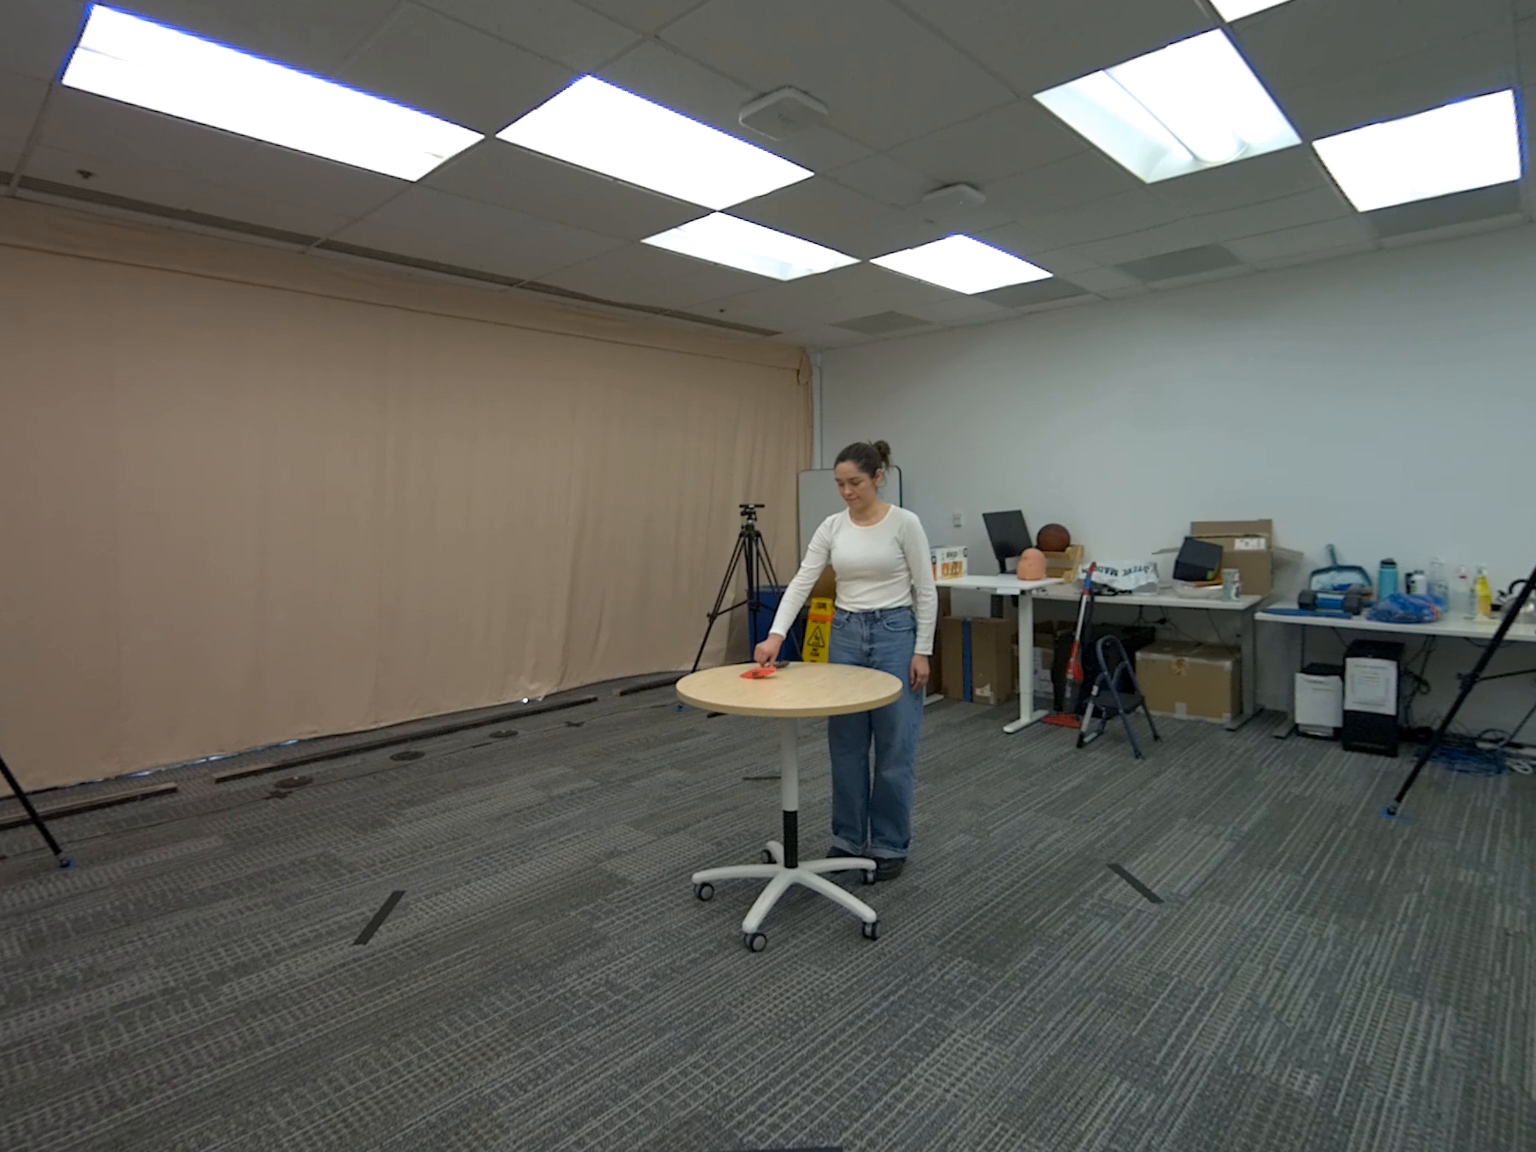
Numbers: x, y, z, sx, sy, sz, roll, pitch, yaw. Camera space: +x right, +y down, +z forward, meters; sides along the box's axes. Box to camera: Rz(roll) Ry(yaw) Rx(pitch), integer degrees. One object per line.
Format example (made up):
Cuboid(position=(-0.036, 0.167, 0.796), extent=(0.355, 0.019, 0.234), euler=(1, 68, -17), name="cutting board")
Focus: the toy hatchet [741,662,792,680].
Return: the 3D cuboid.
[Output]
Cuboid(position=(0.024, 0.335, 3.046), extent=(0.134, 0.030, 0.262), euler=(-14, -4, 35), name="toy hatchet")
